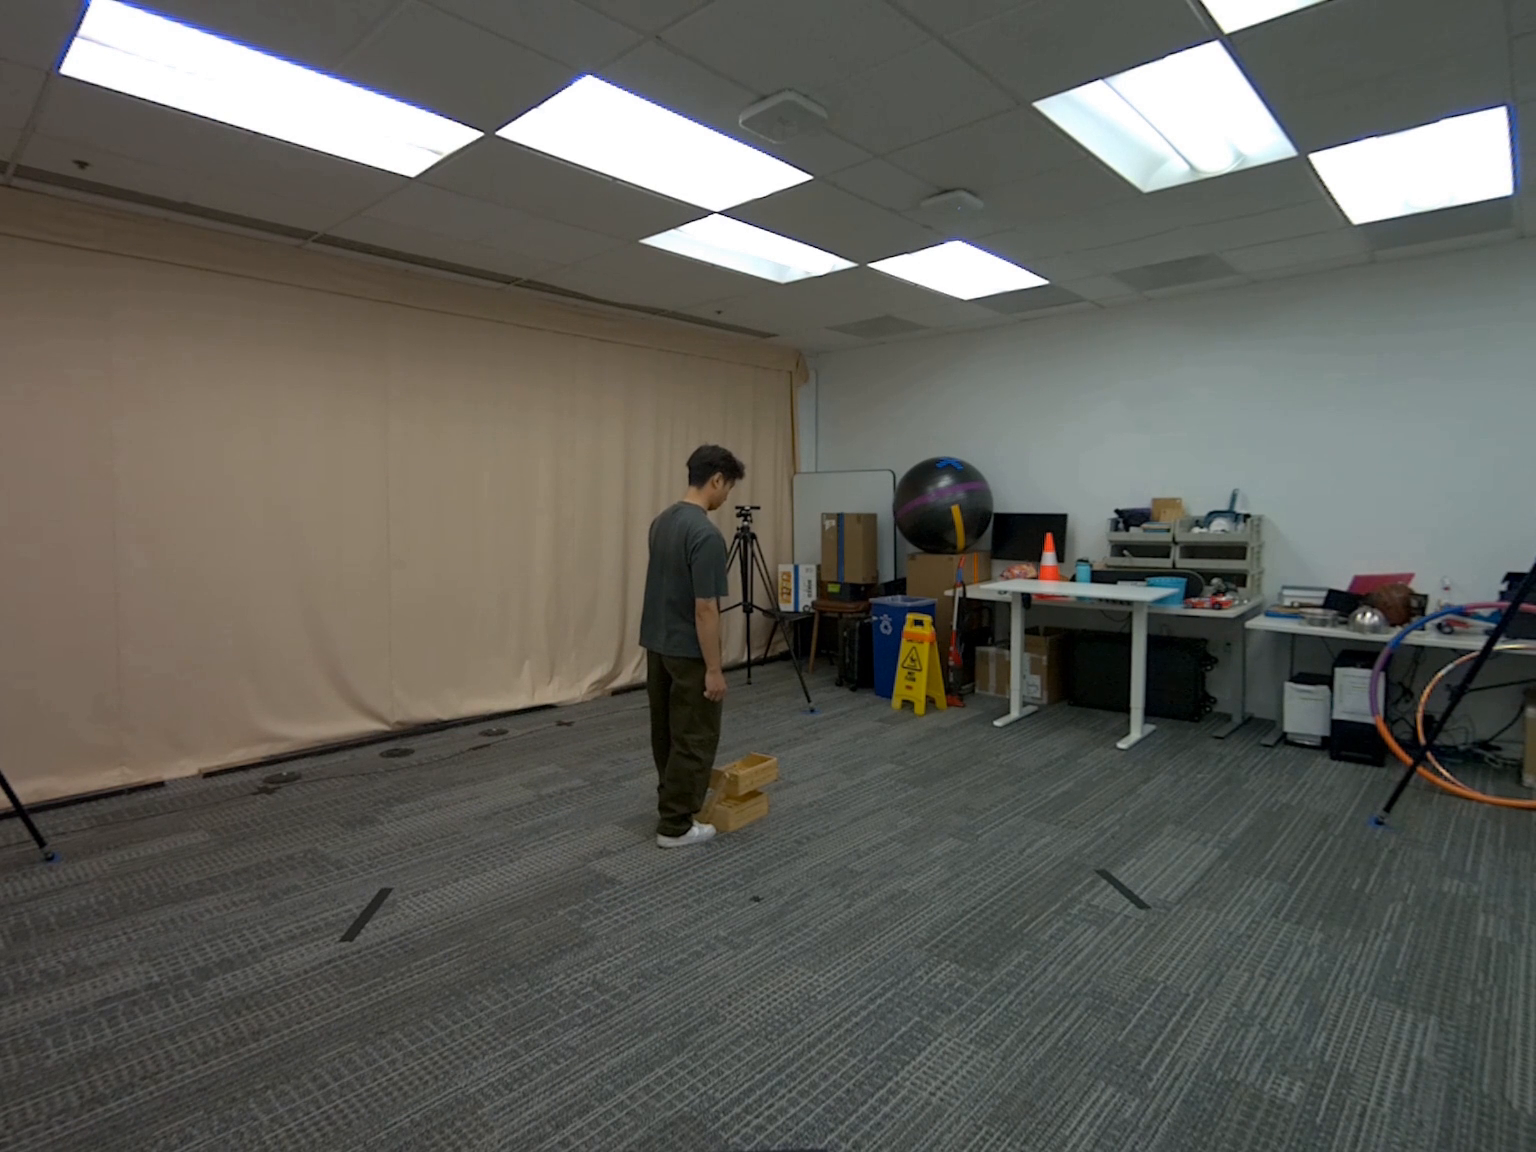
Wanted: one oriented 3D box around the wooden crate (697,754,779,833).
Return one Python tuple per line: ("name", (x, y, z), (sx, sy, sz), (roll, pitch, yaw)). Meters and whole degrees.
("wooden crate", (-0.163, 0.947, 3.765), (0.312, 0.272, 0.315), (4, 6, 36))
